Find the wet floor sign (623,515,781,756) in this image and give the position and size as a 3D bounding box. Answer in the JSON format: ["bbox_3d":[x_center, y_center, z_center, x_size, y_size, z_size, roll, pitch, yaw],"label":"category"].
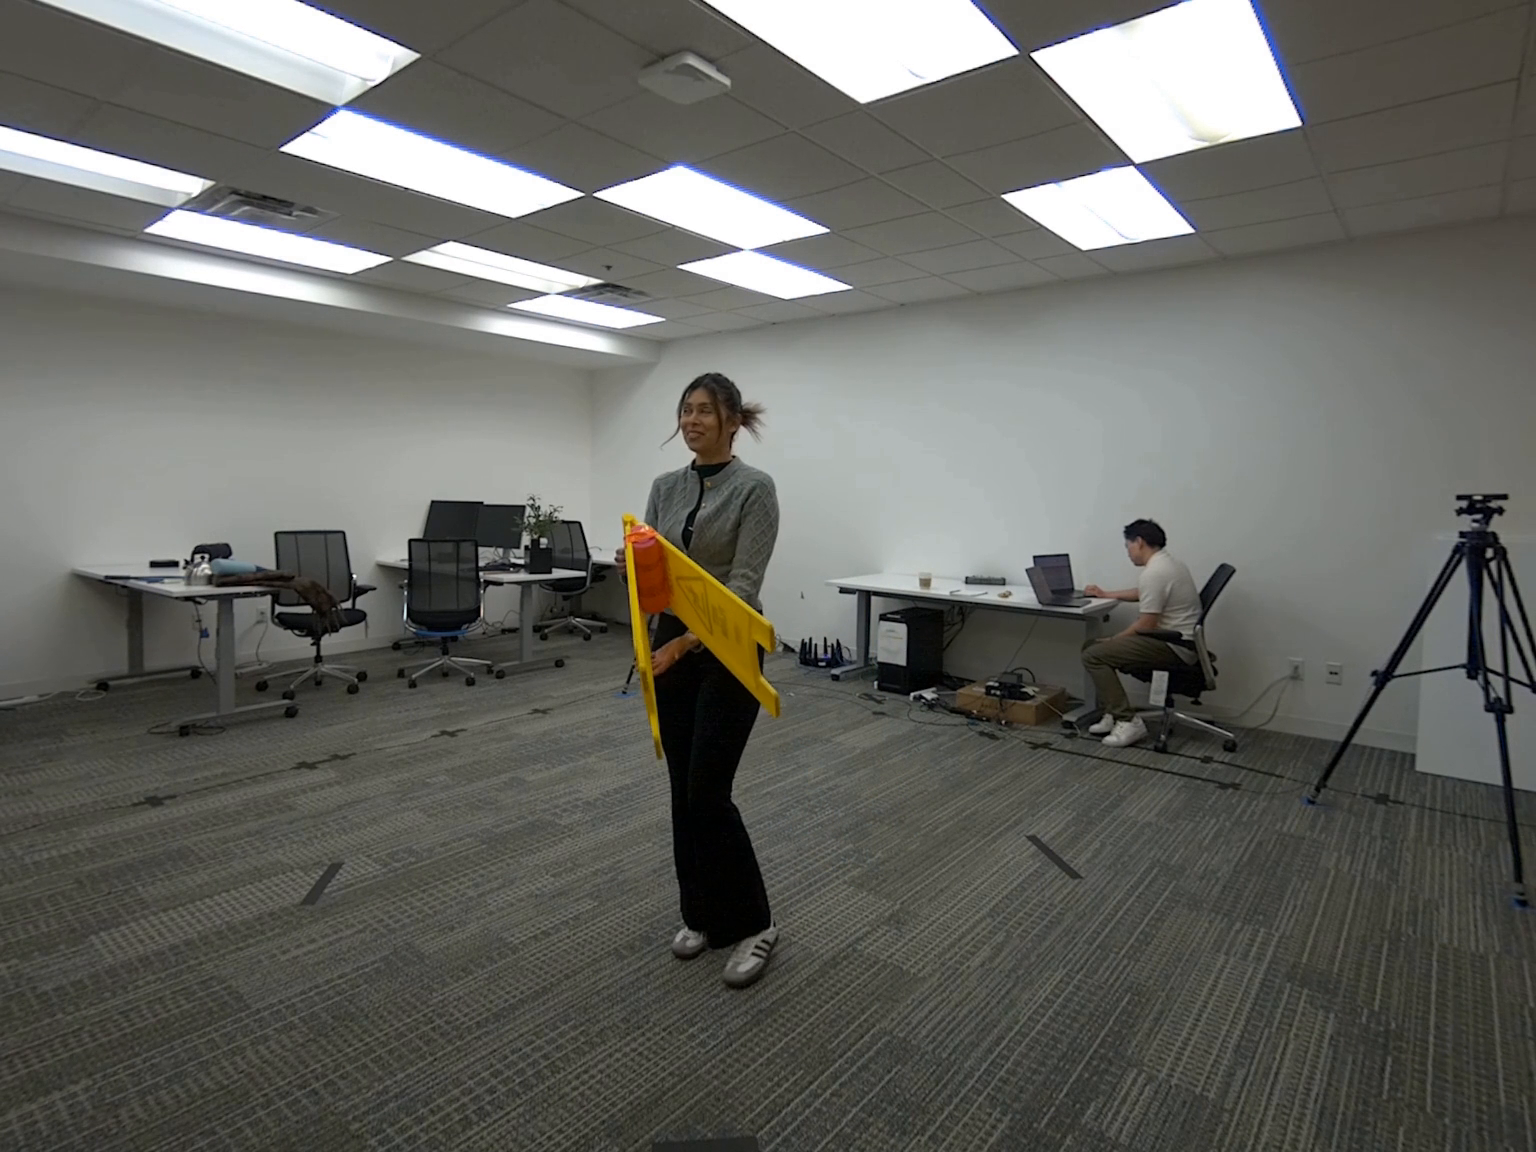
[{"bbox_3d":[-0.248,0.085,2.078,0.287,0.273,0.673,-18,39,-15],"label":"wet floor sign"}]
